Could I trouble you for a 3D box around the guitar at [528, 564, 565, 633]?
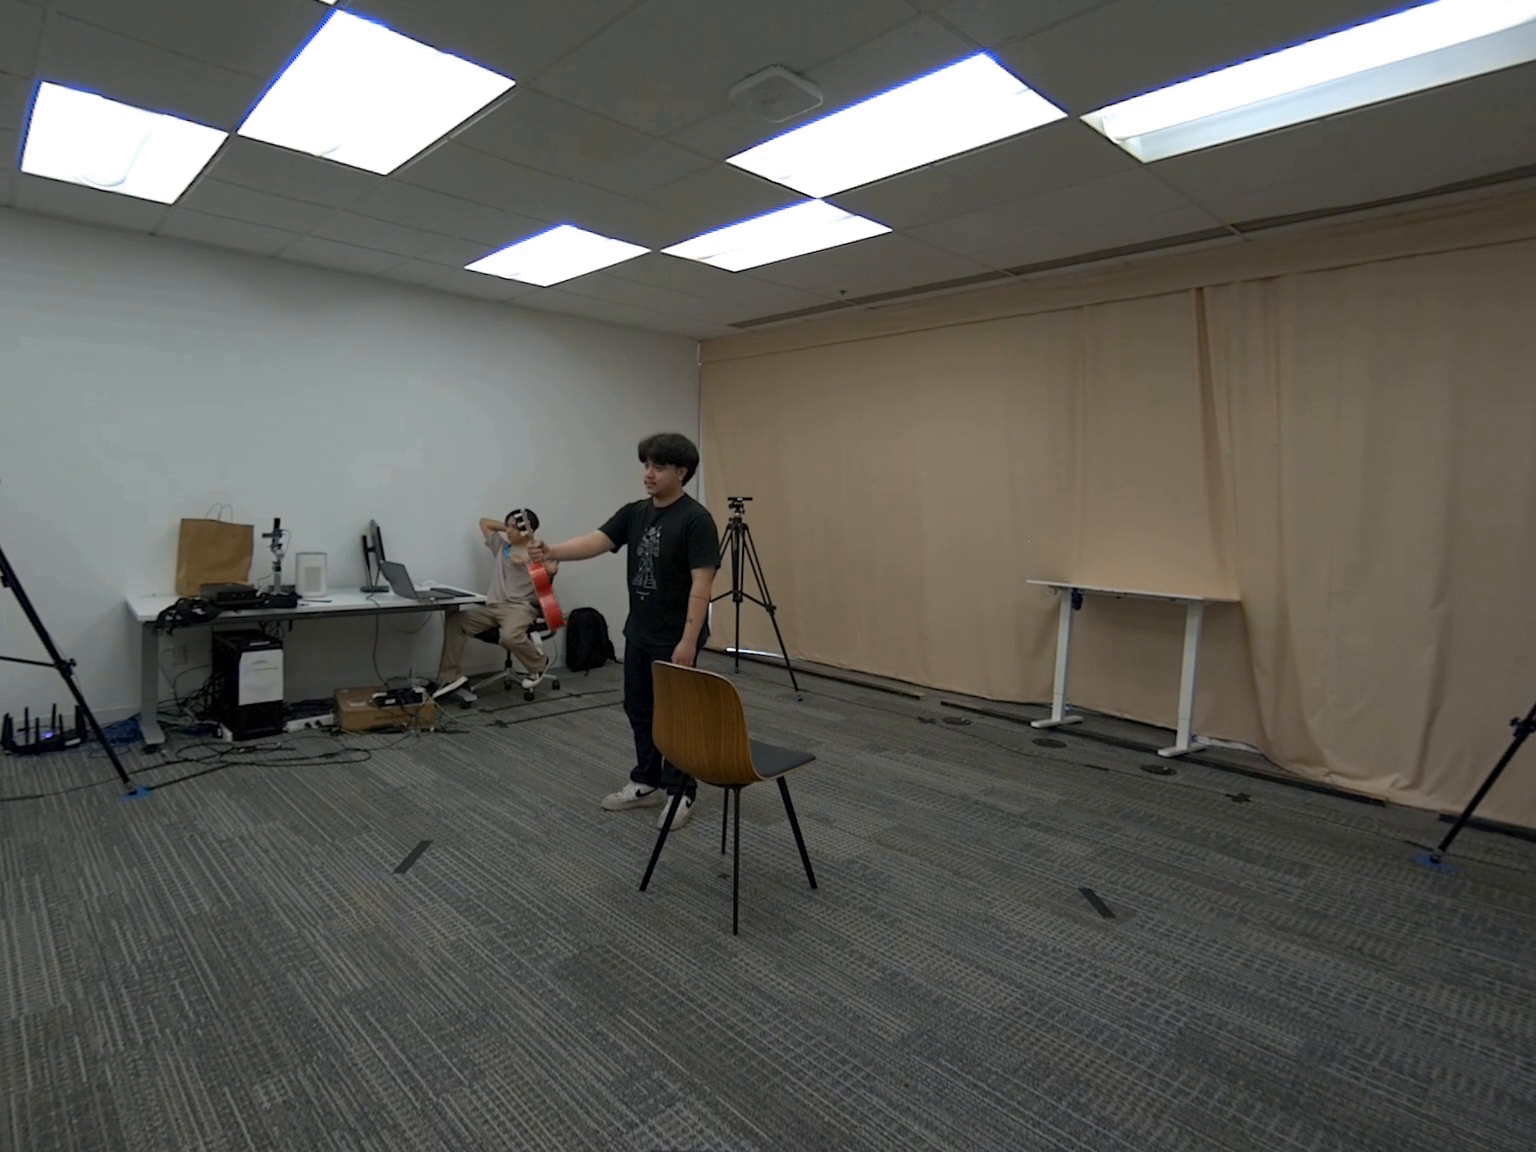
[{"bbox_3d":[-0.916,-0.028,3.348,0.070,0.497,0.194,-19,2,-12],"label":"guitar"}]
